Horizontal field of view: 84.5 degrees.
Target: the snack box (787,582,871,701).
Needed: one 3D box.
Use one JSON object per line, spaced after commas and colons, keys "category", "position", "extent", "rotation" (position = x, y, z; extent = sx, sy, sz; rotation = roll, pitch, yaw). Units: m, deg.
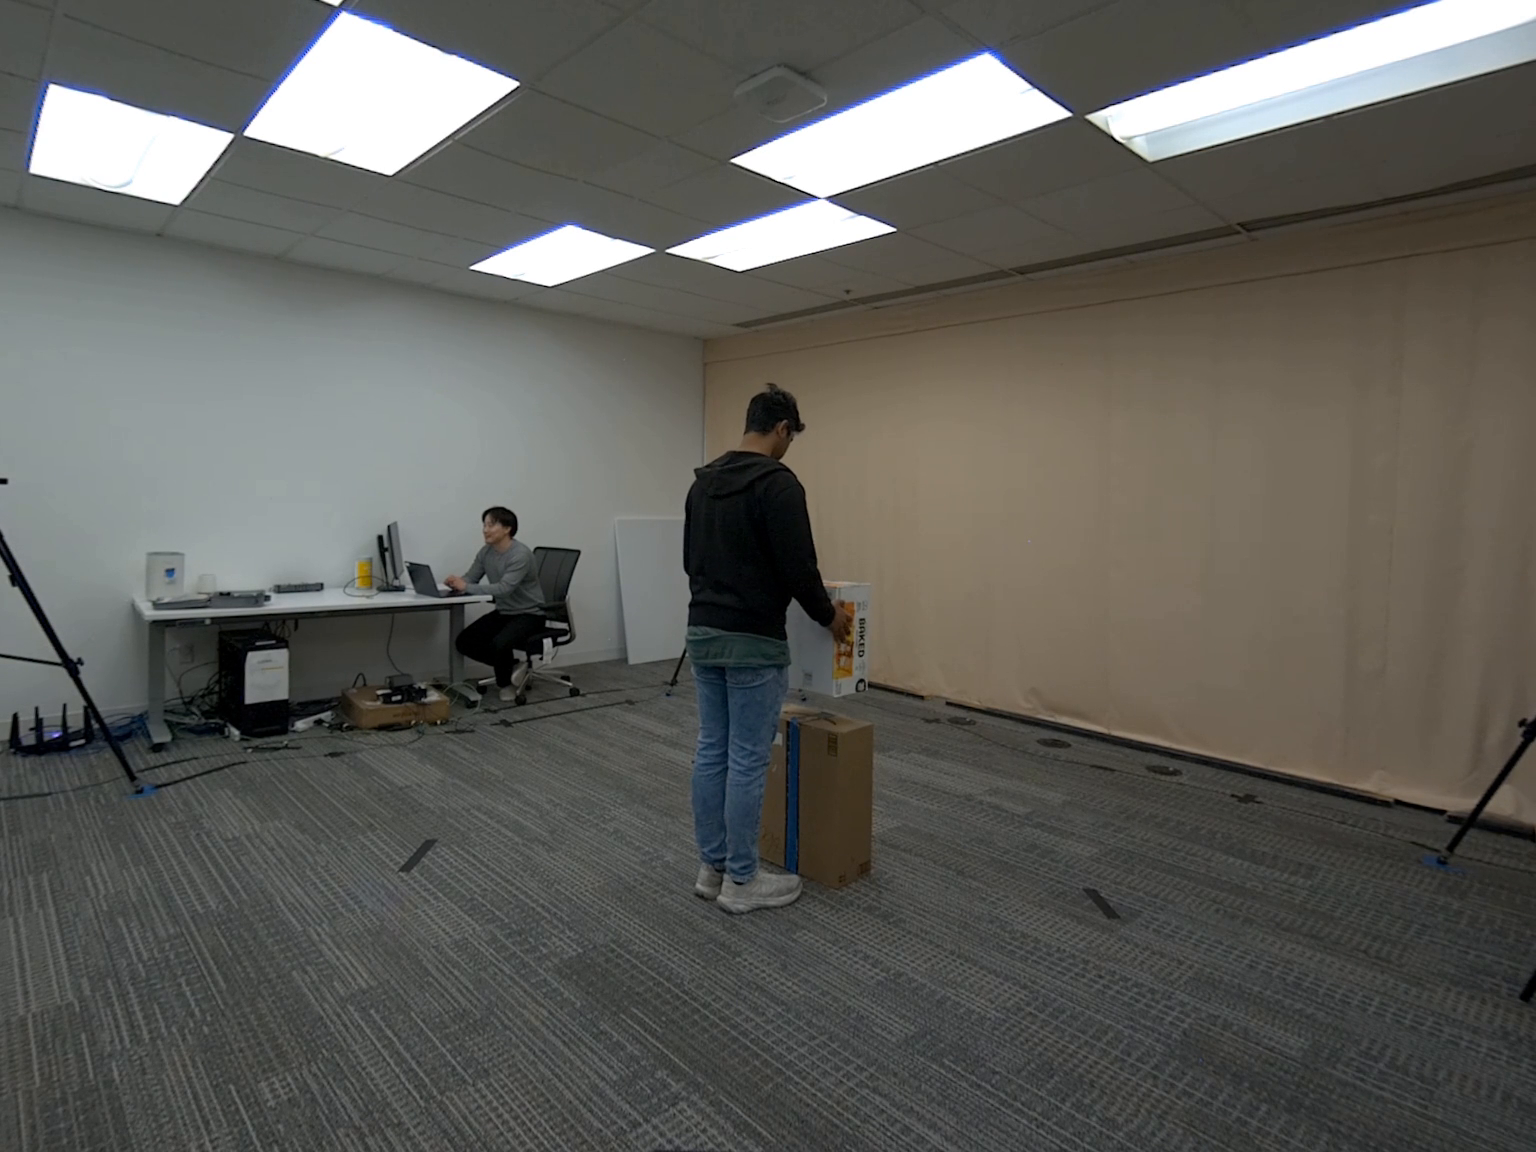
{"category": "snack box", "position": [0.180, 0.222, 3.214], "extent": [0.201, 0.404, 0.349], "rotation": [-1, 4, -44]}
